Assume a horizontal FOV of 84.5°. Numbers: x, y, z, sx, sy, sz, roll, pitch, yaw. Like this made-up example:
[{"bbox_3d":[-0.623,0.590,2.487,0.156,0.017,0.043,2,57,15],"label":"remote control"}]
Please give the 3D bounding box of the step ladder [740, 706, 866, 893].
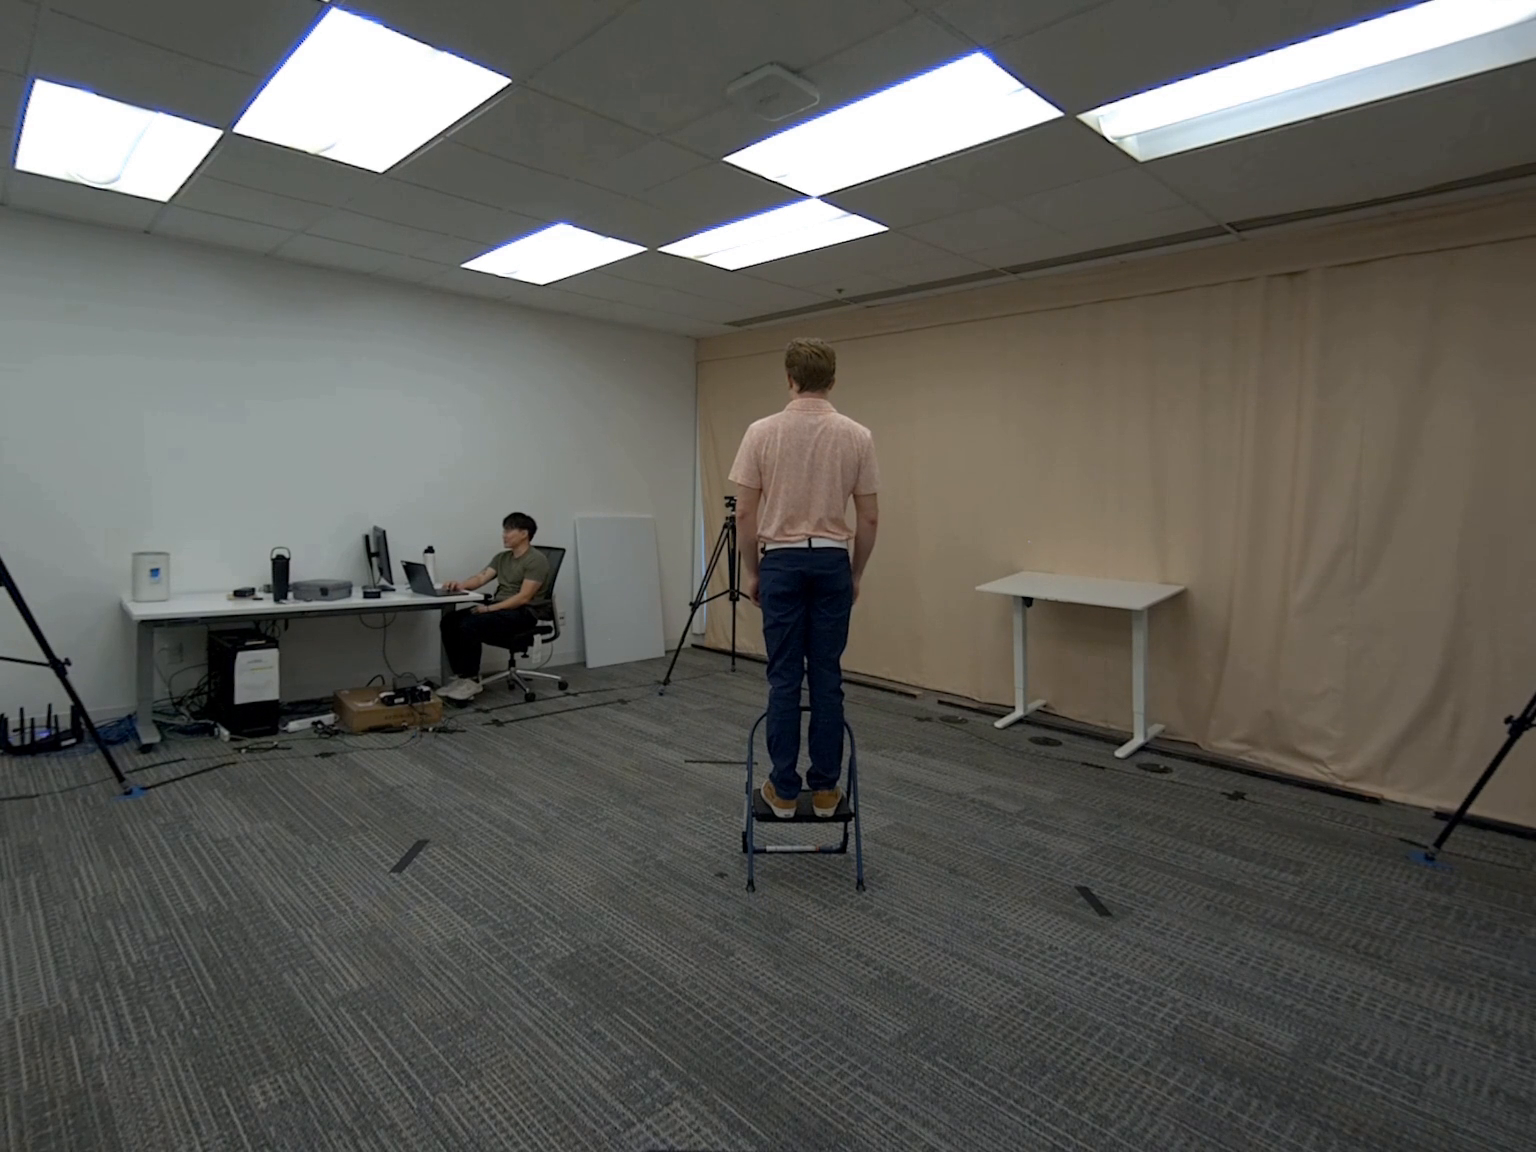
[{"bbox_3d":[0.121,0.806,3.147,0.429,0.604,0.352,1,4,-5],"label":"step ladder"}]
